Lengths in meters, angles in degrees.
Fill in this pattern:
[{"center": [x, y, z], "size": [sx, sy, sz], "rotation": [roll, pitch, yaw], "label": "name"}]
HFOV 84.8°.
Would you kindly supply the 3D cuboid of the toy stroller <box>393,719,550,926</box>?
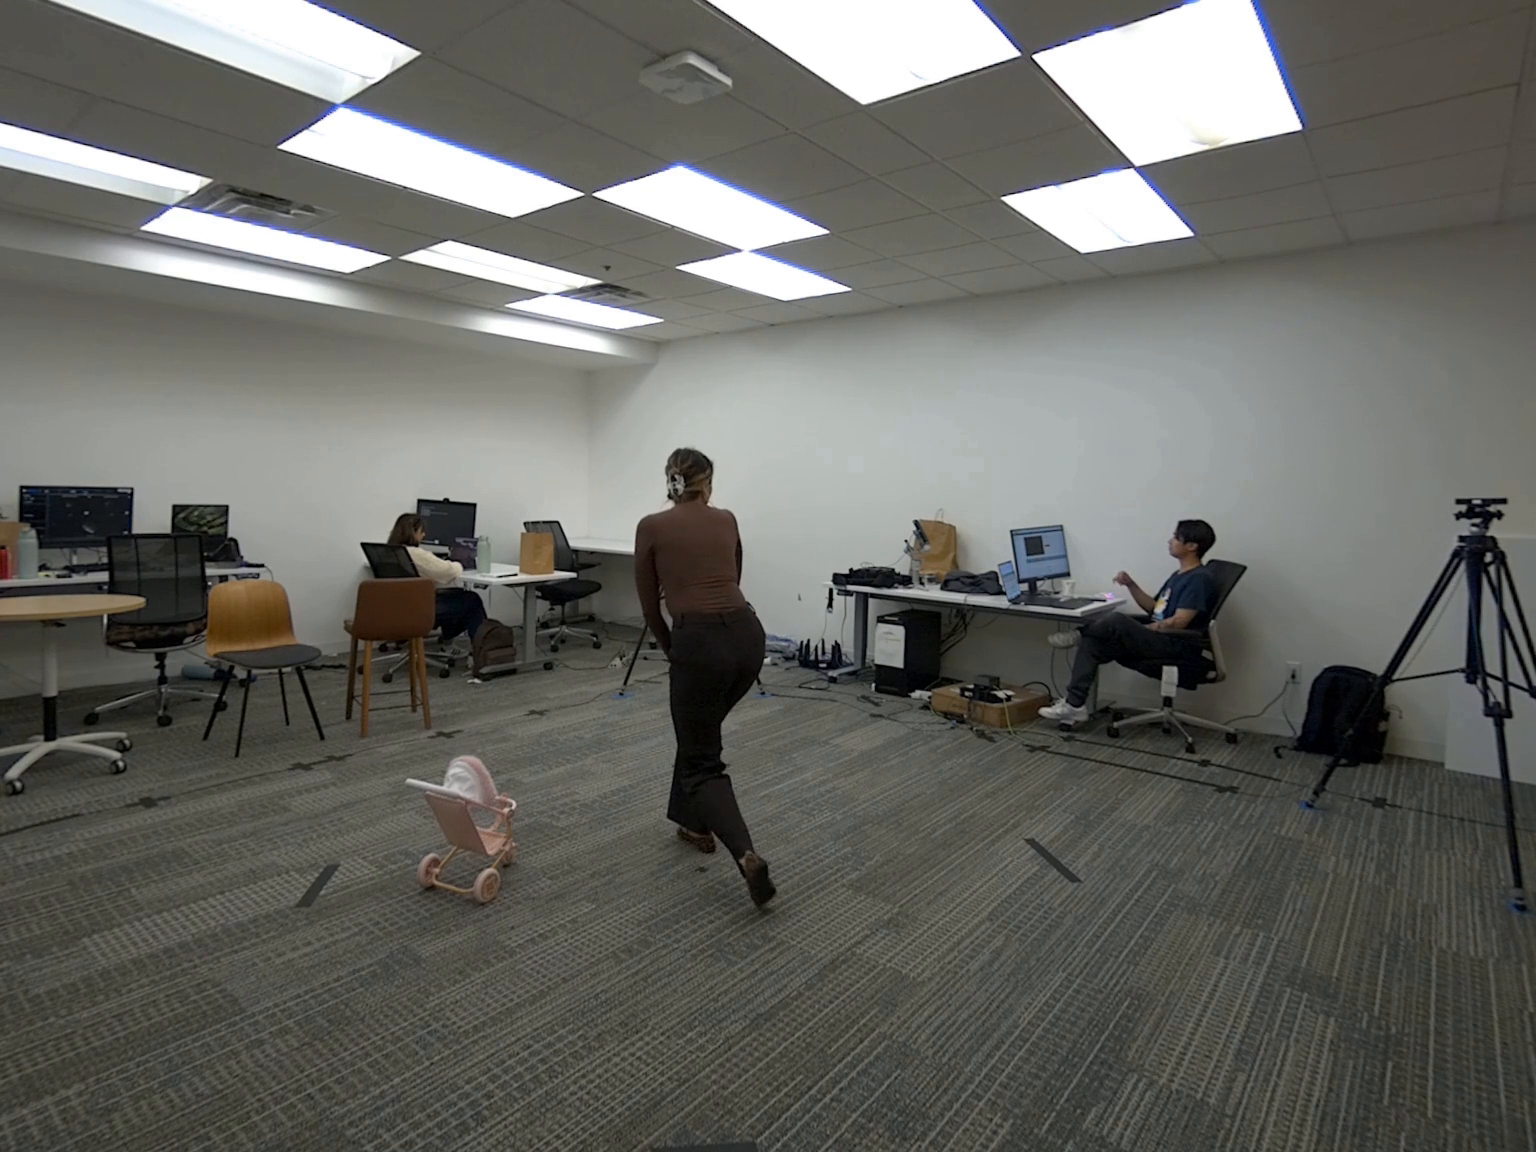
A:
[{"center": [-1.023, 0.843, 2.938], "size": [0.289, 0.525, 0.338], "rotation": [5, 21, 27], "label": "toy stroller"}]
